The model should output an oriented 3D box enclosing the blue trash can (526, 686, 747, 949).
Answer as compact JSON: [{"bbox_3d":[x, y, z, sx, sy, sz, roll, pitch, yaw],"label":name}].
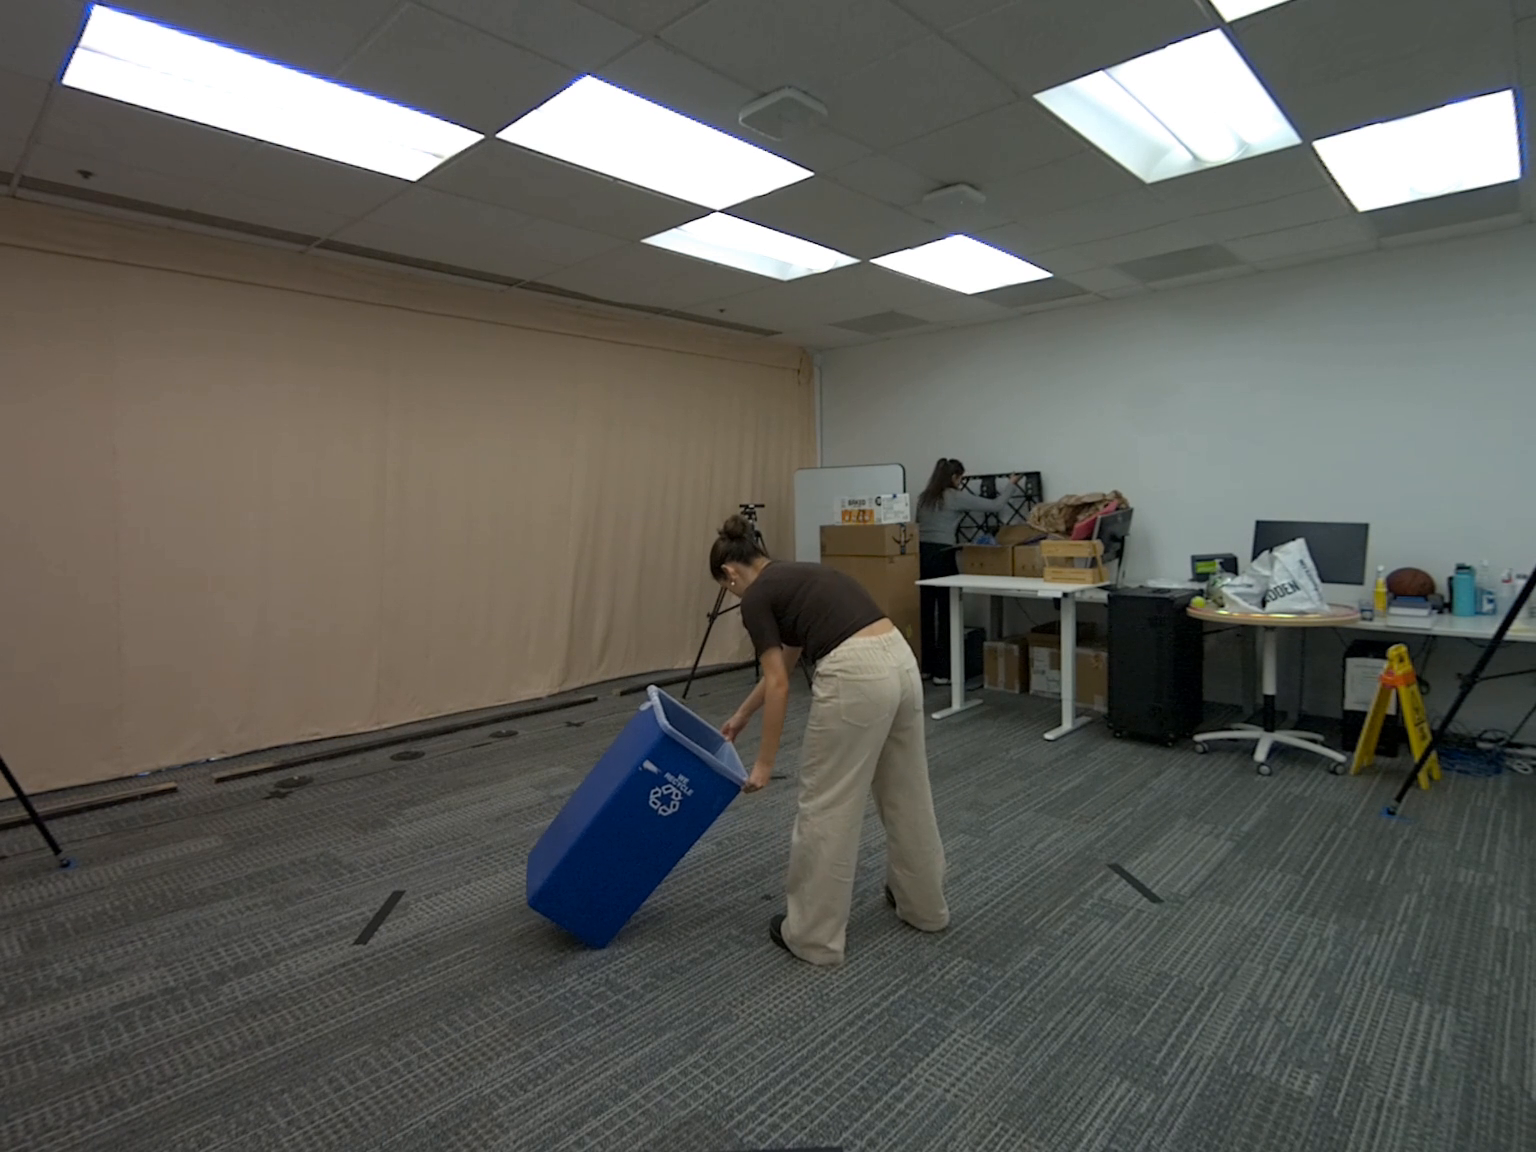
[{"bbox_3d":[-0.434,0.793,2.759,0.366,0.714,0.386,37,2,-18],"label":"blue trash can"}]
